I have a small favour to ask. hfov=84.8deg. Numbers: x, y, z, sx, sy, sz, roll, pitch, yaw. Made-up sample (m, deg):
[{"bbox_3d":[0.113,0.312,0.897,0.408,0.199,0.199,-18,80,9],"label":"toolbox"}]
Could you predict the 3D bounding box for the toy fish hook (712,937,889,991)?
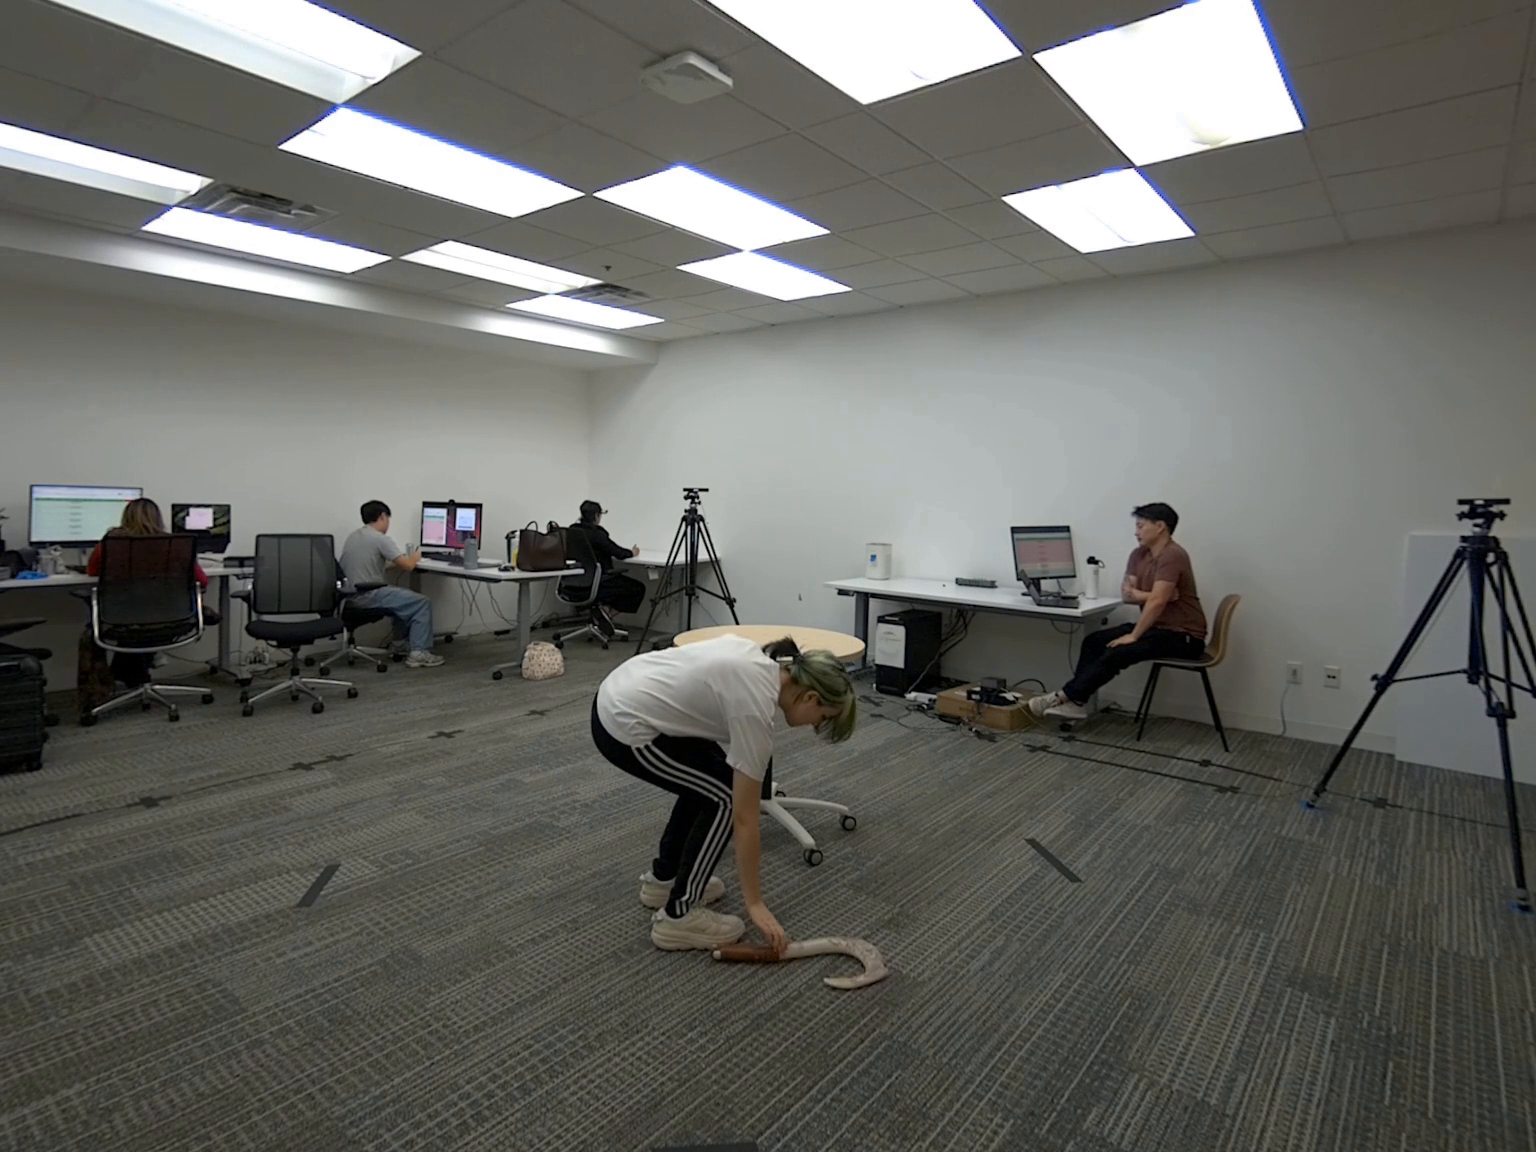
[{"bbox_3d":[0.087,1.124,2.458,0.503,0.048,0.226,0,4,-6],"label":"toy fish hook"}]
